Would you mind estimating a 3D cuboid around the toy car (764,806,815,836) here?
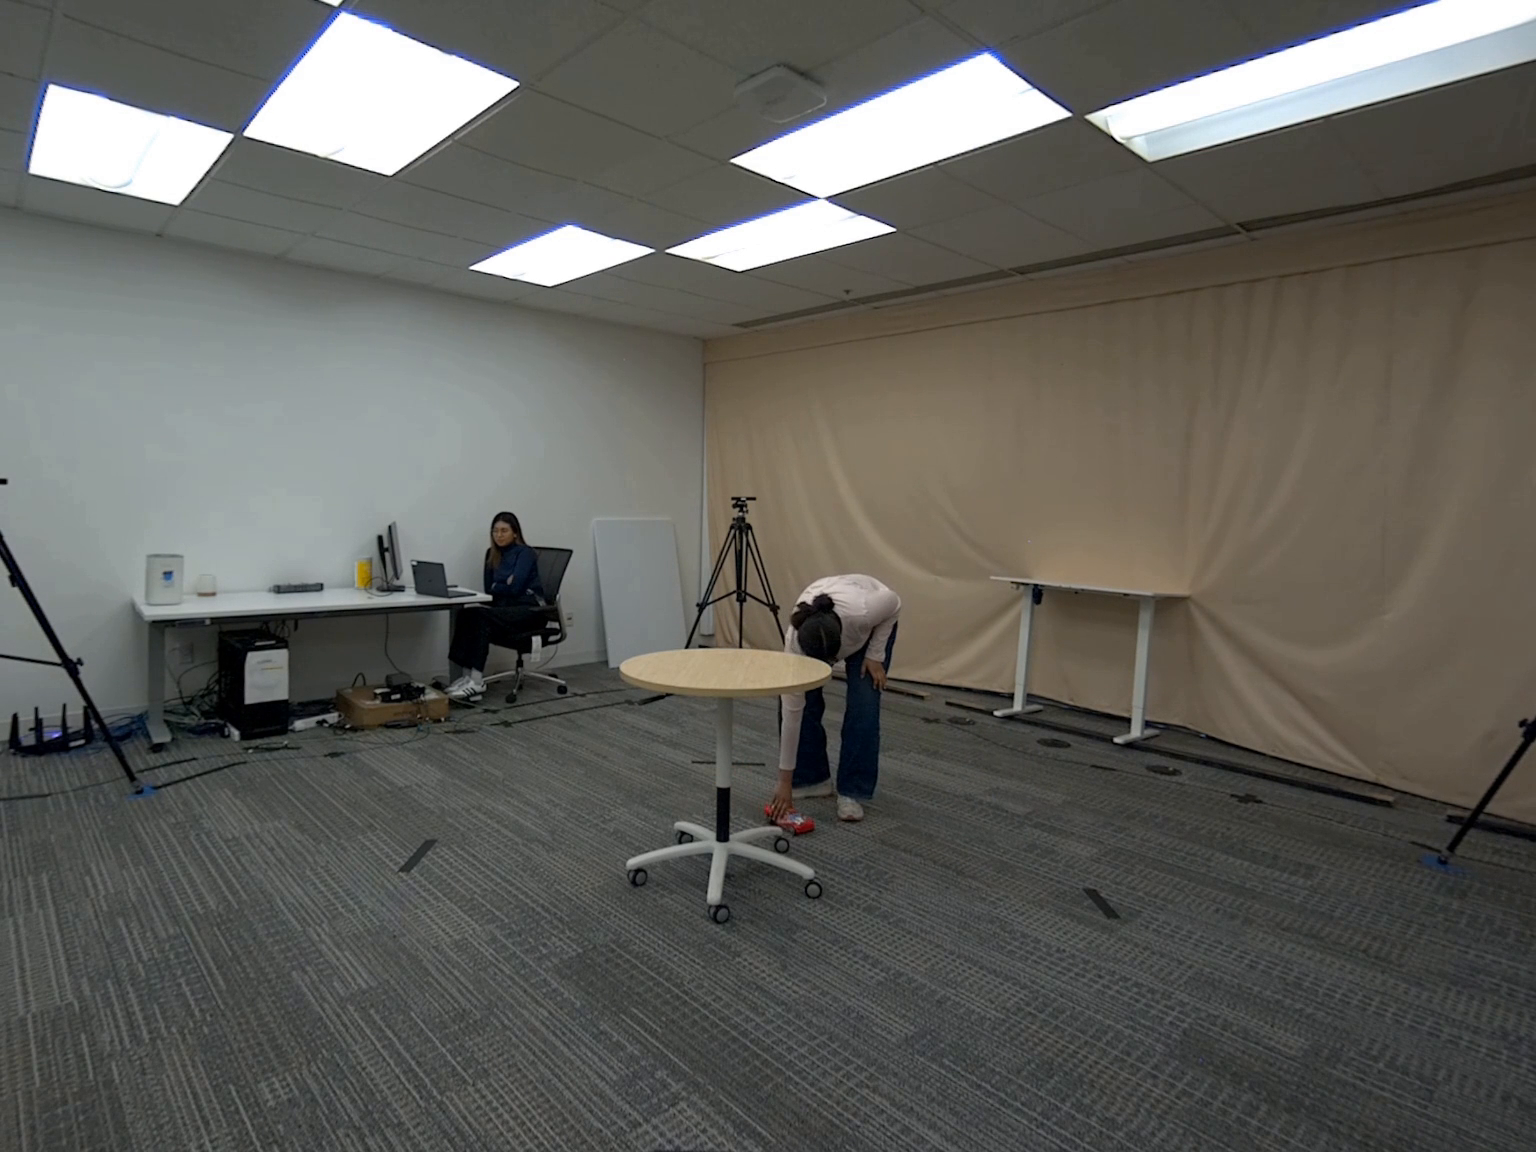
[{"bbox_3d":[0.072,1.040,3.603,0.127,0.082,0.262,0,14,-33],"label":"toy car"}]
